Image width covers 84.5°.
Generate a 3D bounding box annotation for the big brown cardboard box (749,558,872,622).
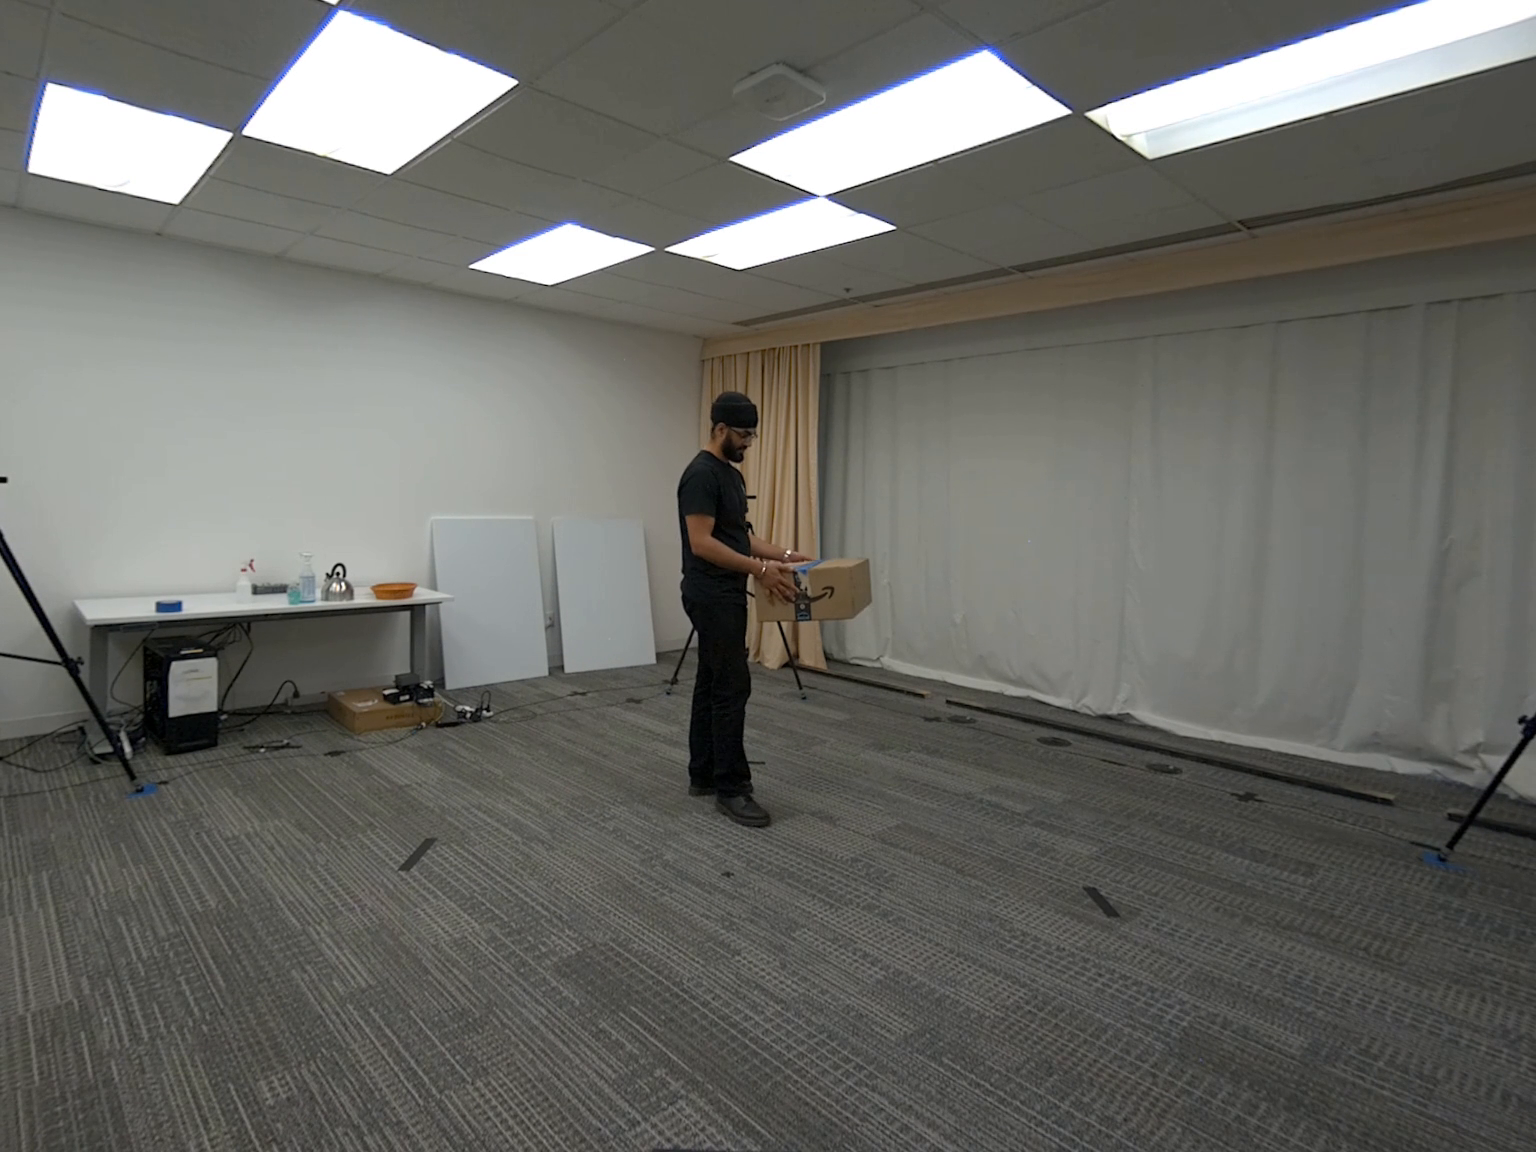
[{"bbox_3d":[0.205,0.052,3.779,0.422,0.232,0.583,-3,5,15],"label":"big brown cardboard box"}]
